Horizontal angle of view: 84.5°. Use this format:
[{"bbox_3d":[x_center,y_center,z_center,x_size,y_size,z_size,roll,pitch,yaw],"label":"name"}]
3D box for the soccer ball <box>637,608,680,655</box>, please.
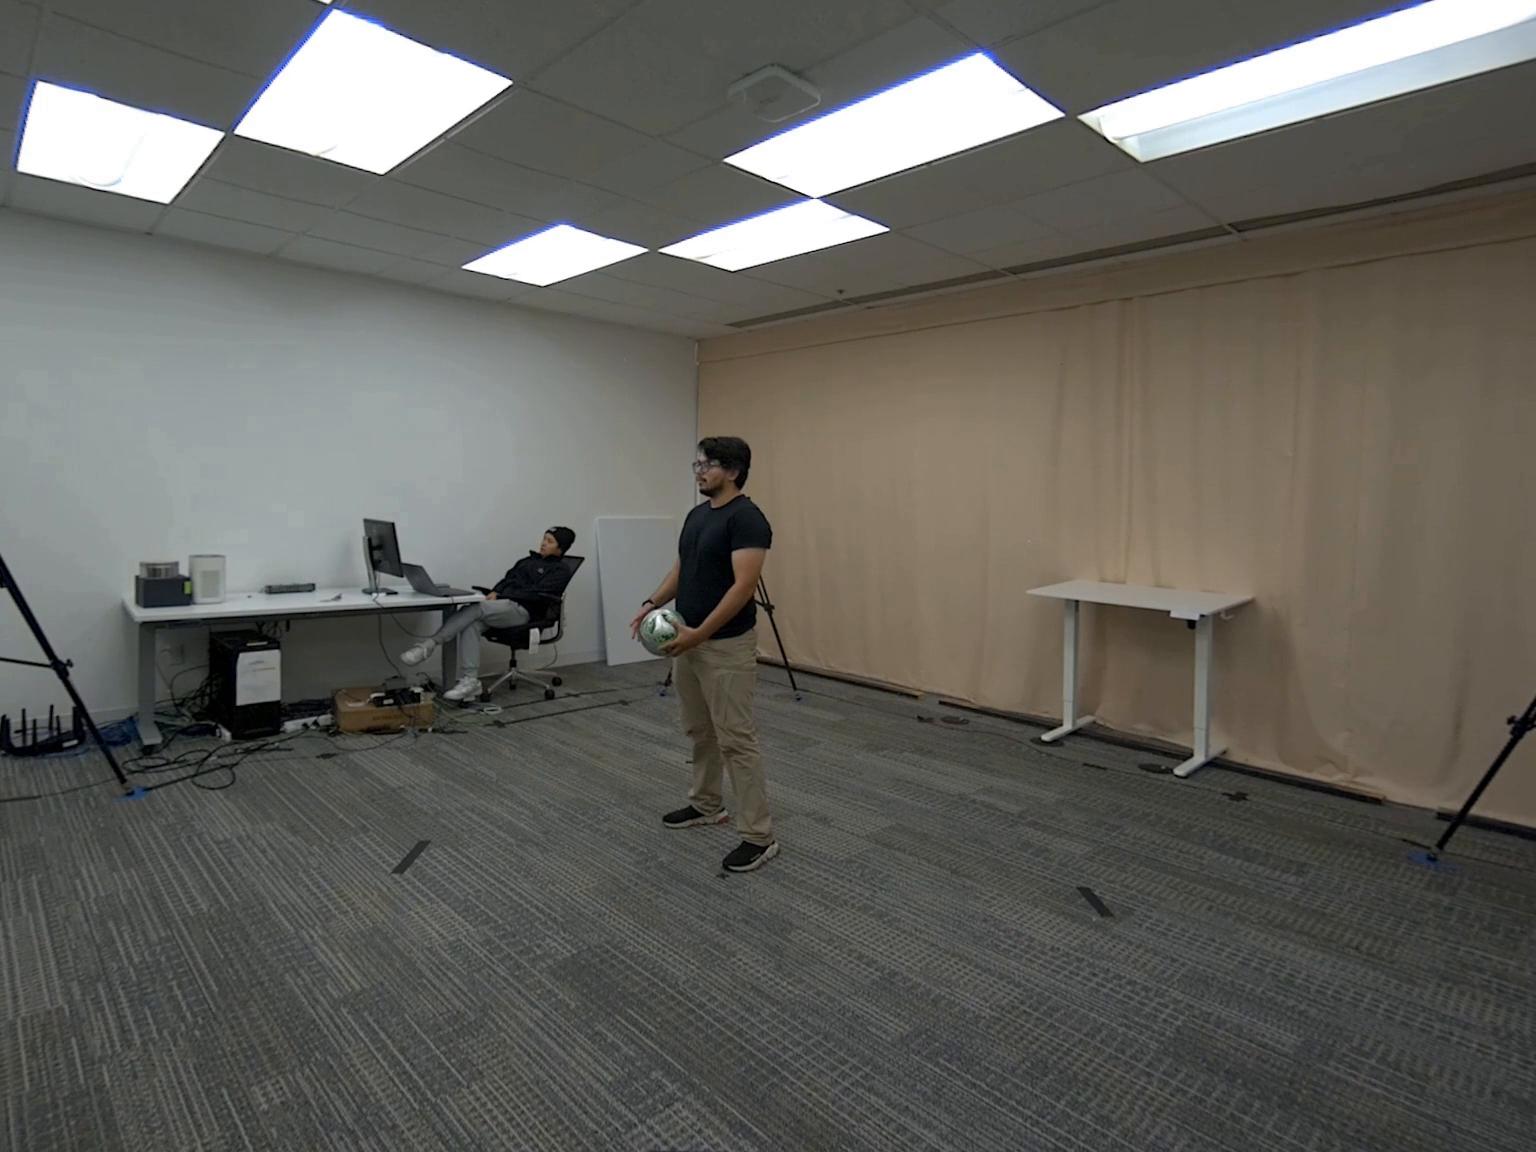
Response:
[{"bbox_3d":[-0.405,0.216,3.230,0.187,0.187,0.188,1,4,-1],"label":"soccer ball"}]
